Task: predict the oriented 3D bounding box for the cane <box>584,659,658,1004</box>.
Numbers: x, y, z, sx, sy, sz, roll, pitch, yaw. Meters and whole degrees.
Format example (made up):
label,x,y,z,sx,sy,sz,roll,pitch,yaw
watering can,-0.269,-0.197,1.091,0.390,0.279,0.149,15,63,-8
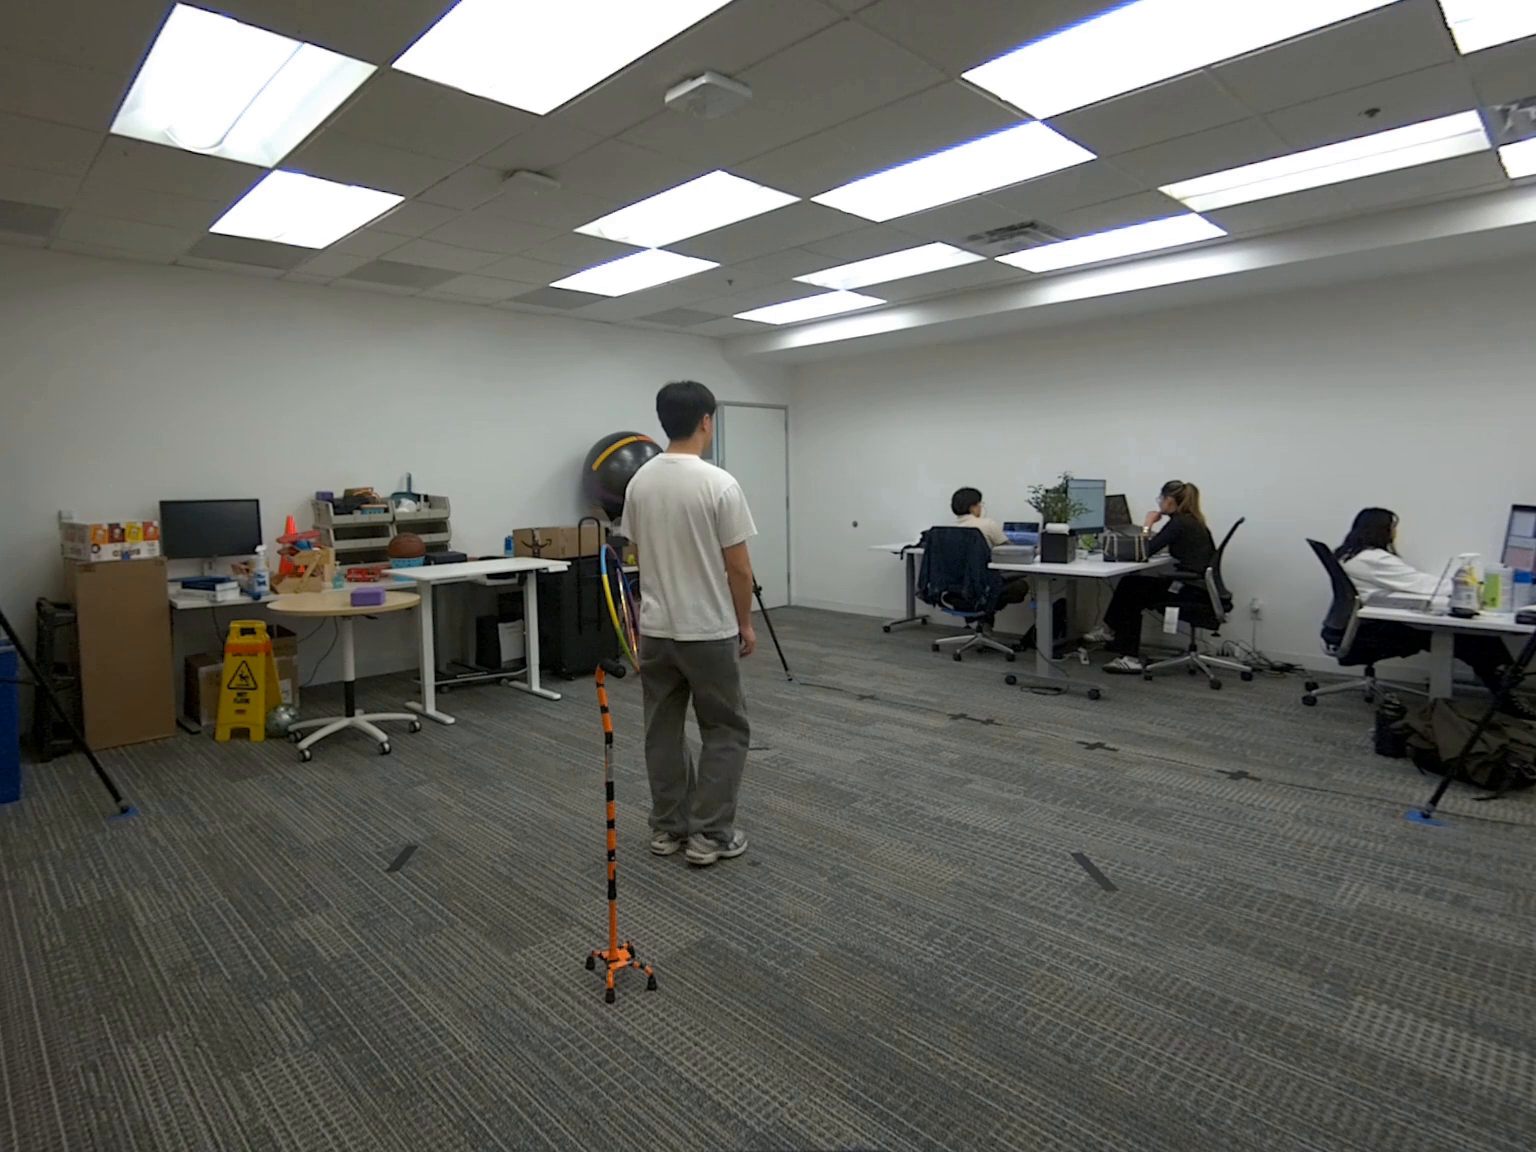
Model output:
label,x,y,z,sx,sy,sz,roll,pitch,yaw
cane,-0.428,0.693,2.384,0.148,0.905,0.212,-3,4,-27
